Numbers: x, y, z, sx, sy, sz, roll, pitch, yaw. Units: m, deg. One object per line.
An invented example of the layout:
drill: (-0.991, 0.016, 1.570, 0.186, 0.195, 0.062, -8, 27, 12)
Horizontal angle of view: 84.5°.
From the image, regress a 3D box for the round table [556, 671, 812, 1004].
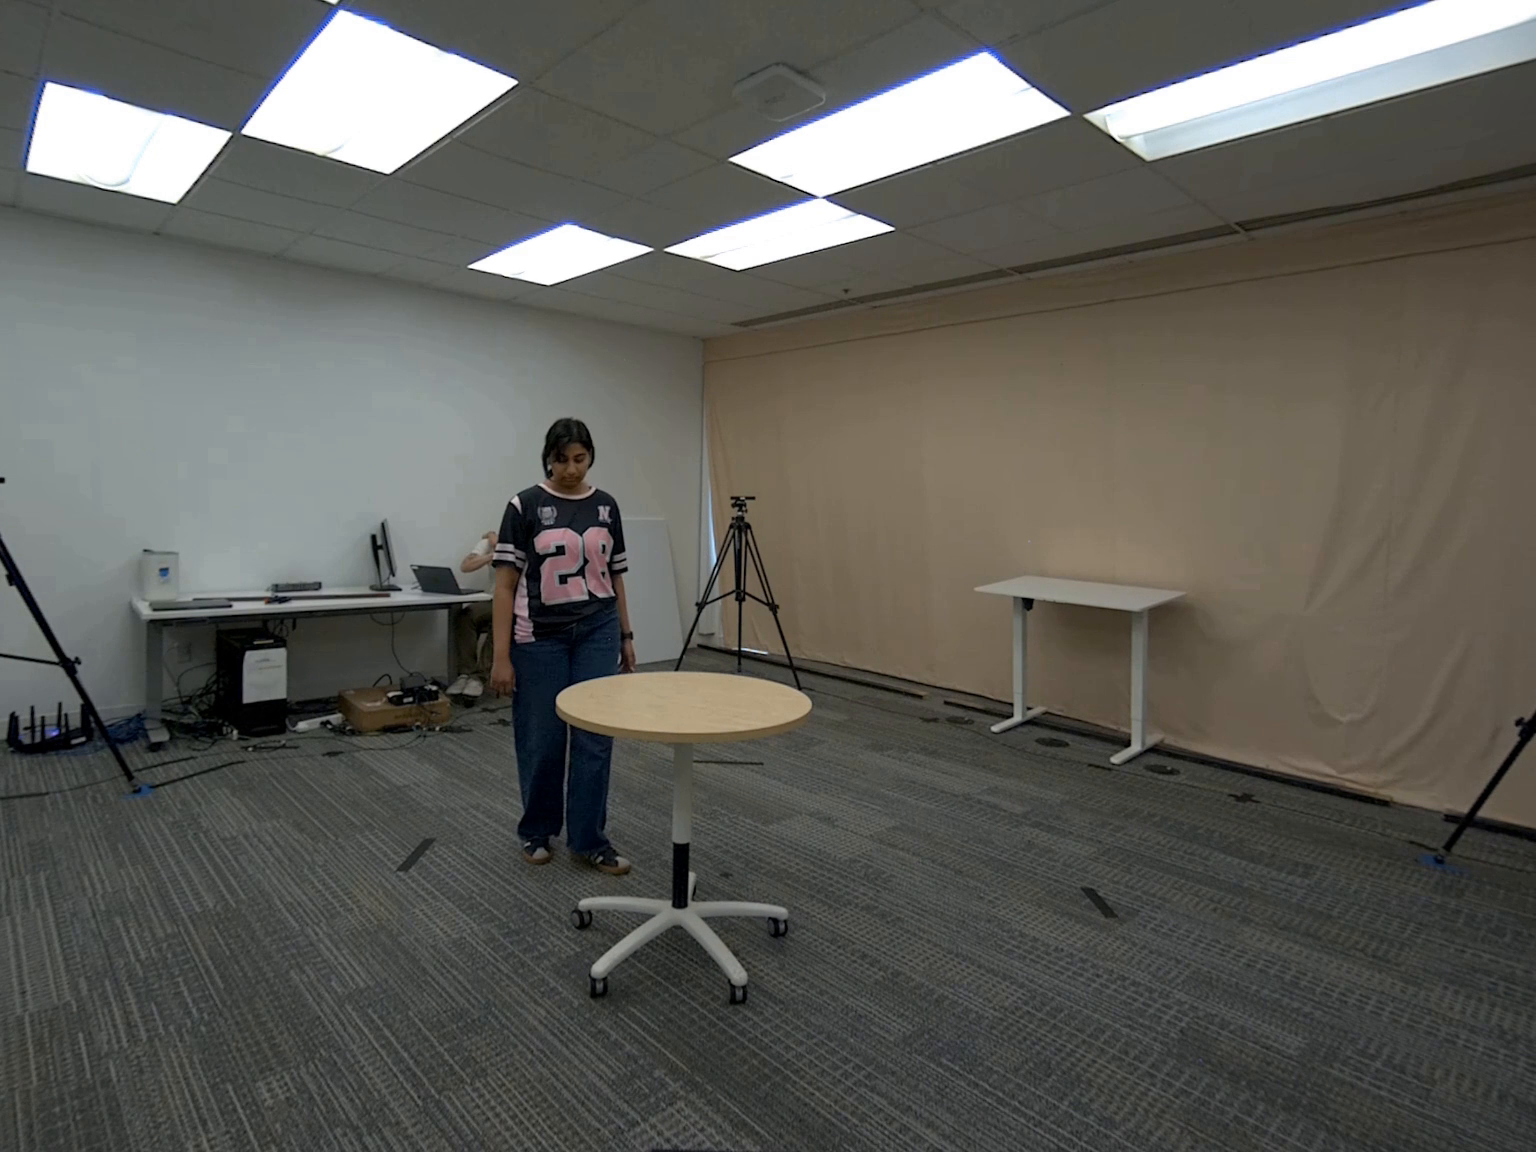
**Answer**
round table: (-0.274, 0.763, 2.565, 0.763, 0.792, 0.767, 1, 4, -1)
